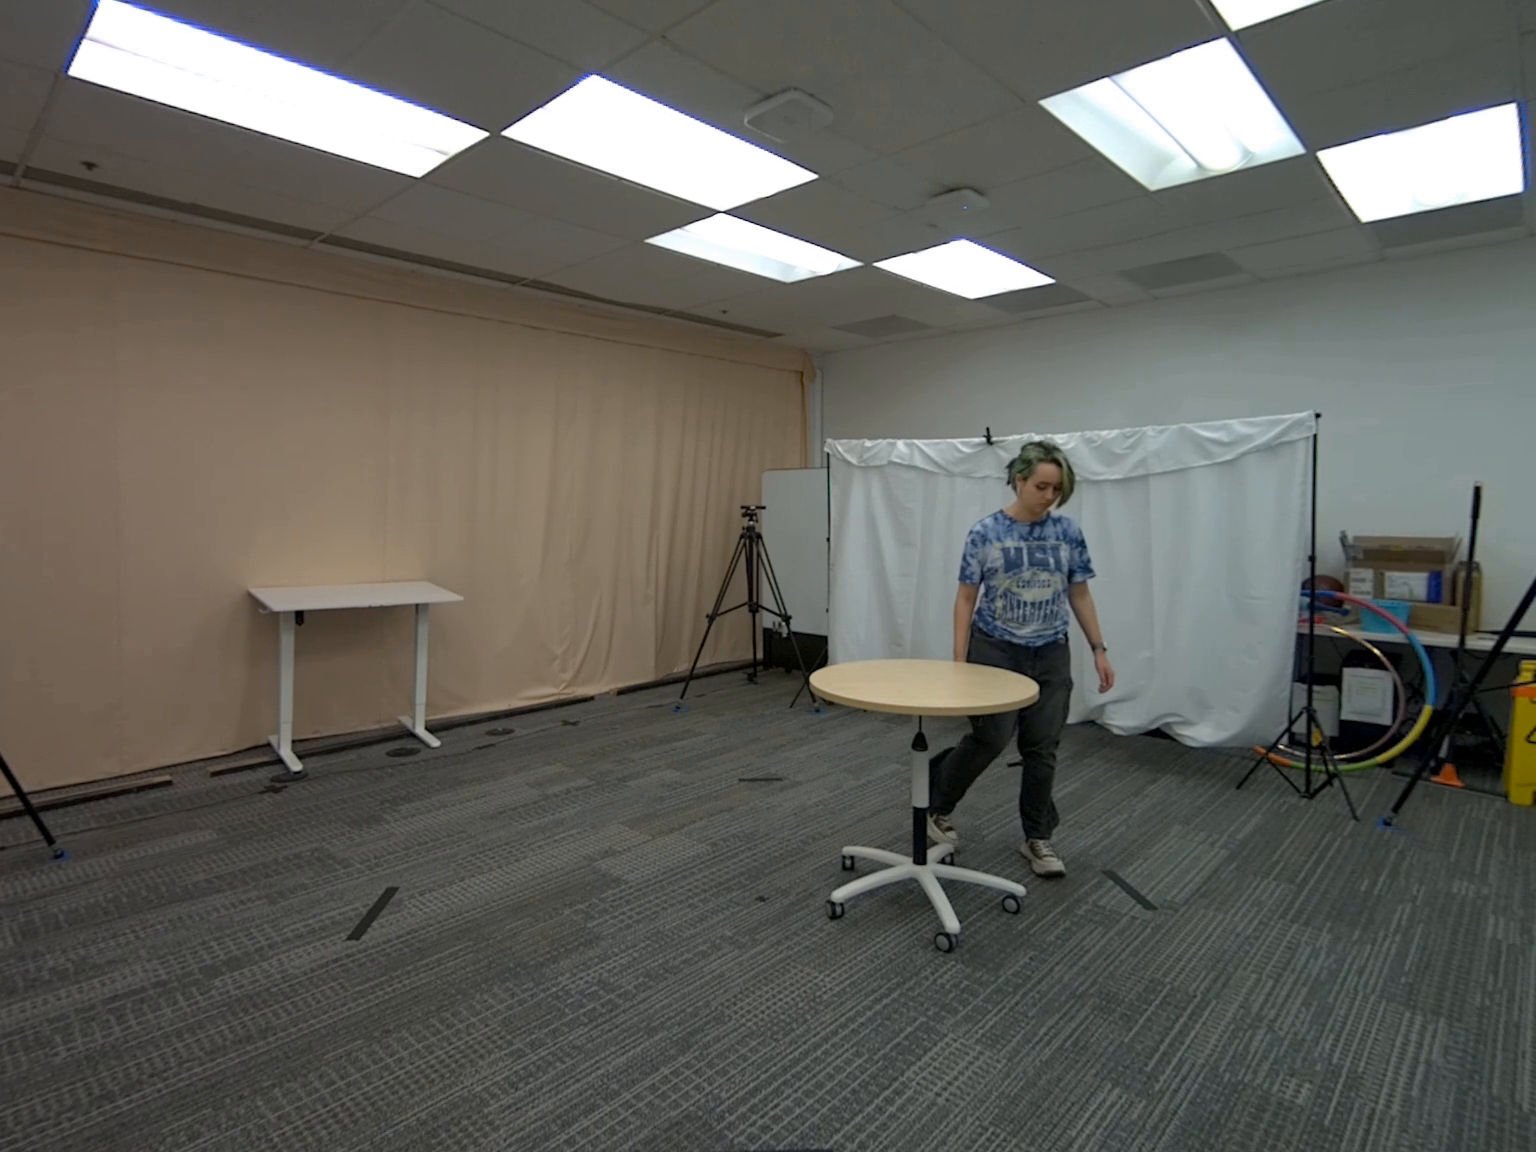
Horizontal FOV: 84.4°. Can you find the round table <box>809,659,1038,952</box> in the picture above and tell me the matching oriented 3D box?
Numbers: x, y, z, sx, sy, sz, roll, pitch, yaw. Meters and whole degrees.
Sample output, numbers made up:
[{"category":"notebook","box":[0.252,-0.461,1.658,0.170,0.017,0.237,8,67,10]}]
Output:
[{"category":"round table","box":[0.523,0.755,2.936,0.763,0.792,0.767,0,4,-2]}]
